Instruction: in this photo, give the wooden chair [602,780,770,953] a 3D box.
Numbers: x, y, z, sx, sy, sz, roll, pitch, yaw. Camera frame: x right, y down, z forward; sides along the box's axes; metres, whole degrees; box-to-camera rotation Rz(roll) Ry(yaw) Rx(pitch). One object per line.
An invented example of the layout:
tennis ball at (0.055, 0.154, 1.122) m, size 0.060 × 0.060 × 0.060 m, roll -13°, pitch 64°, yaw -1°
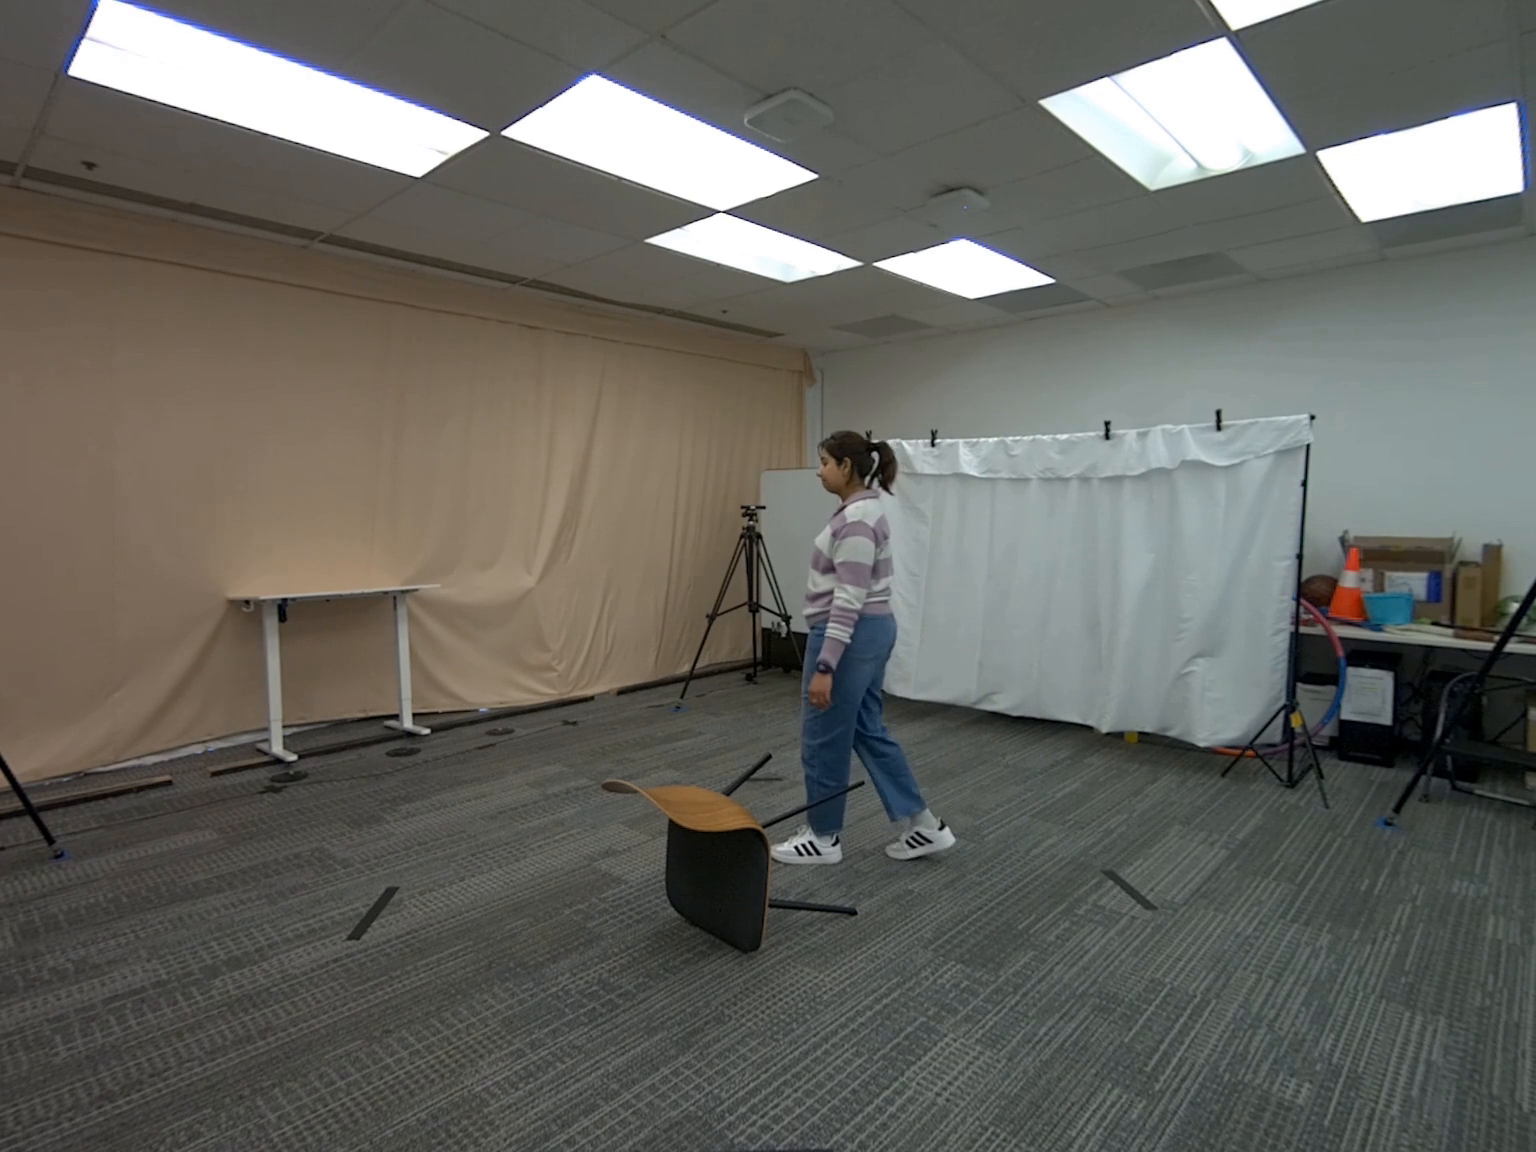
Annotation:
wooden chair at (-0.137, 0.911, 2.740) m, size 0.847 × 0.524 × 0.494 m, roll 8°, pitch -2°, yaw -45°
